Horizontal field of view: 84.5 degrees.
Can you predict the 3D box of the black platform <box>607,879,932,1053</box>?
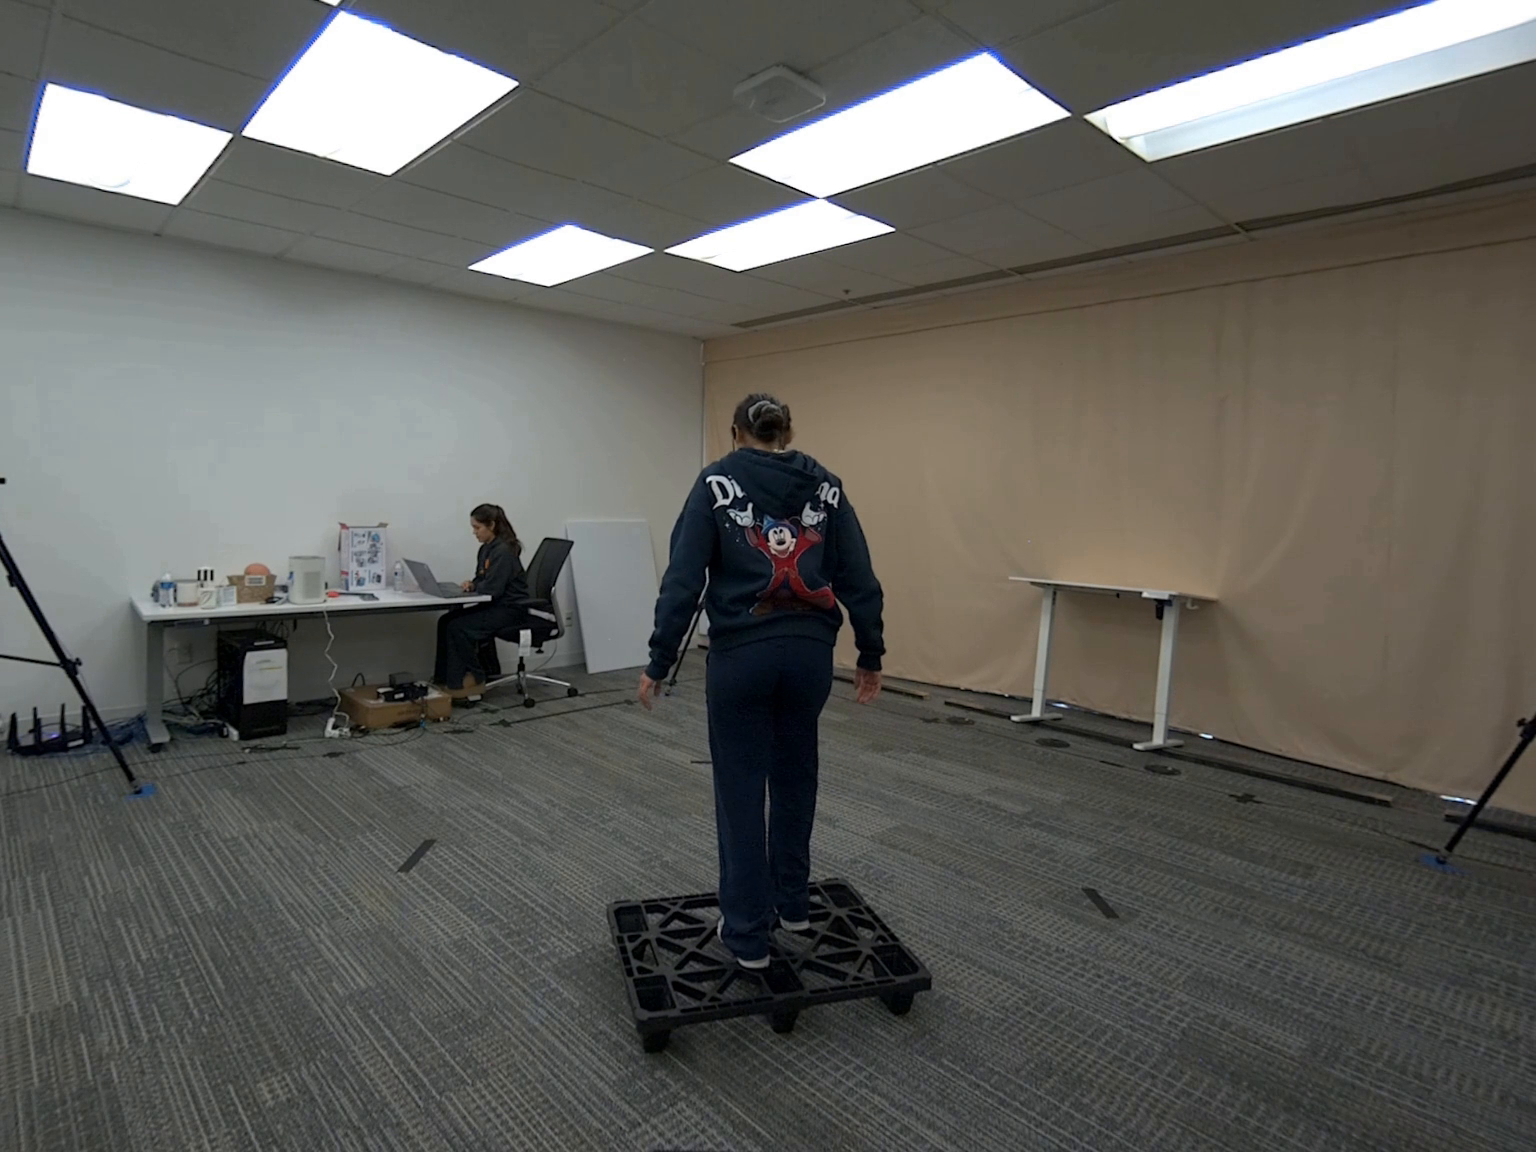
[{"bbox_3d":[-0.033,1.104,2.422,0.795,0.143,0.615,0,5,-17],"label":"black platform"}]
